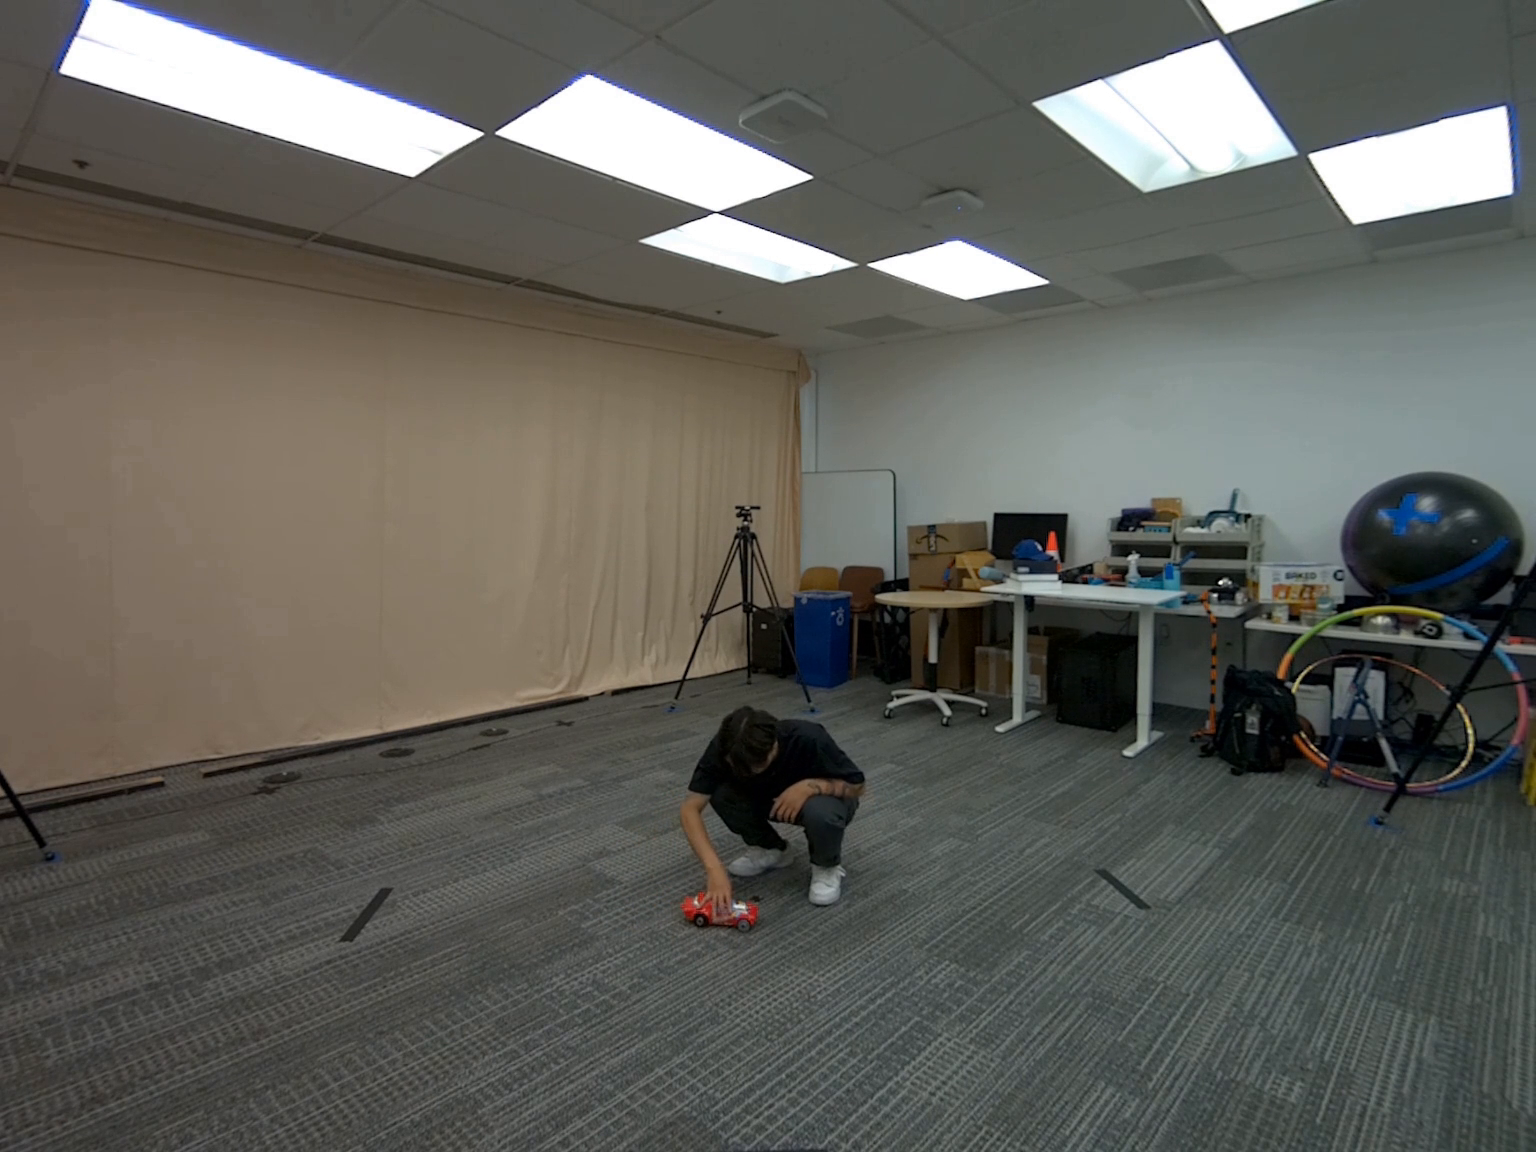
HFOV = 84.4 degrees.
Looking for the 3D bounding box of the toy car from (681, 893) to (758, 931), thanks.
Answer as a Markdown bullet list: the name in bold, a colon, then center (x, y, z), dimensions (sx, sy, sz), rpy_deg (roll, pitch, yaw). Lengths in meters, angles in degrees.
- **toy car**: center (-0.165, 1.127, 2.824), dimensions (0.257, 0.083, 0.129), rpy_deg (10, 6, 9)
